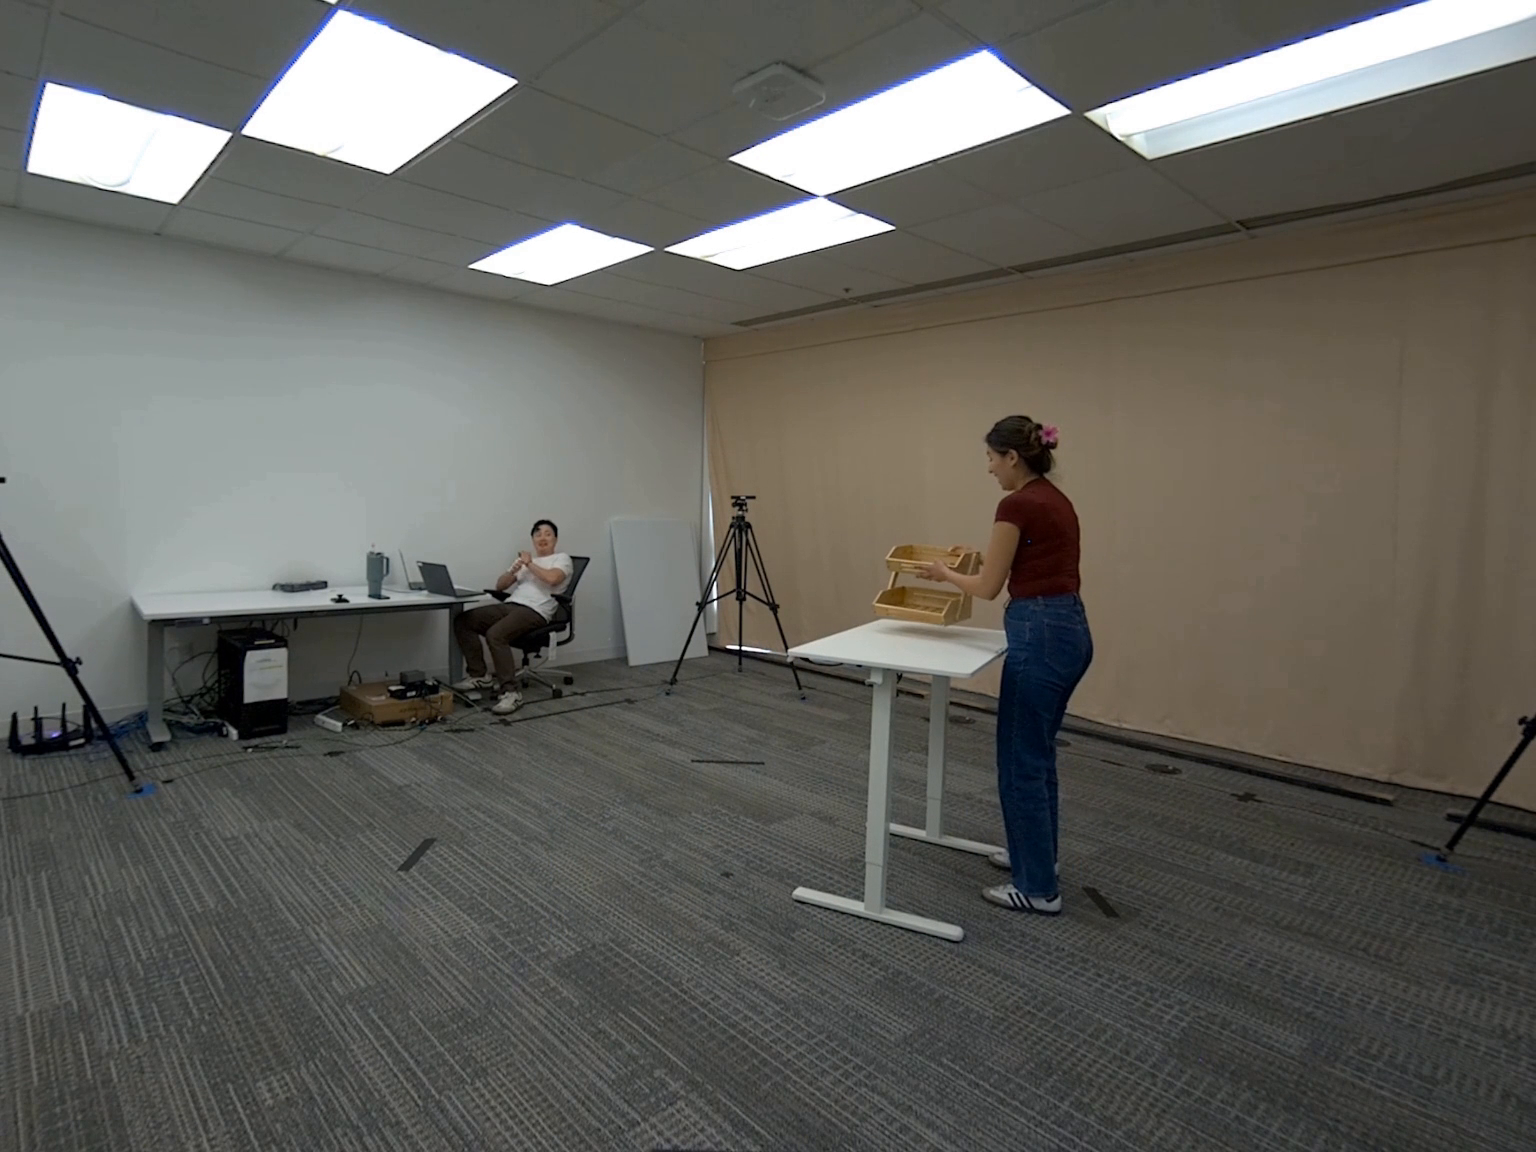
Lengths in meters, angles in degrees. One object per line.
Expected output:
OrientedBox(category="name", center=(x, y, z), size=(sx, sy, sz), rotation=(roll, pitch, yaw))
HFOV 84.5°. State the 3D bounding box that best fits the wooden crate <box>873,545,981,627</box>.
OrientedBox(category="wooden crate", center=(0.615, 0.027, 3.299), size=(0.333, 0.272, 0.296), rotation=(8, 10, 38))
